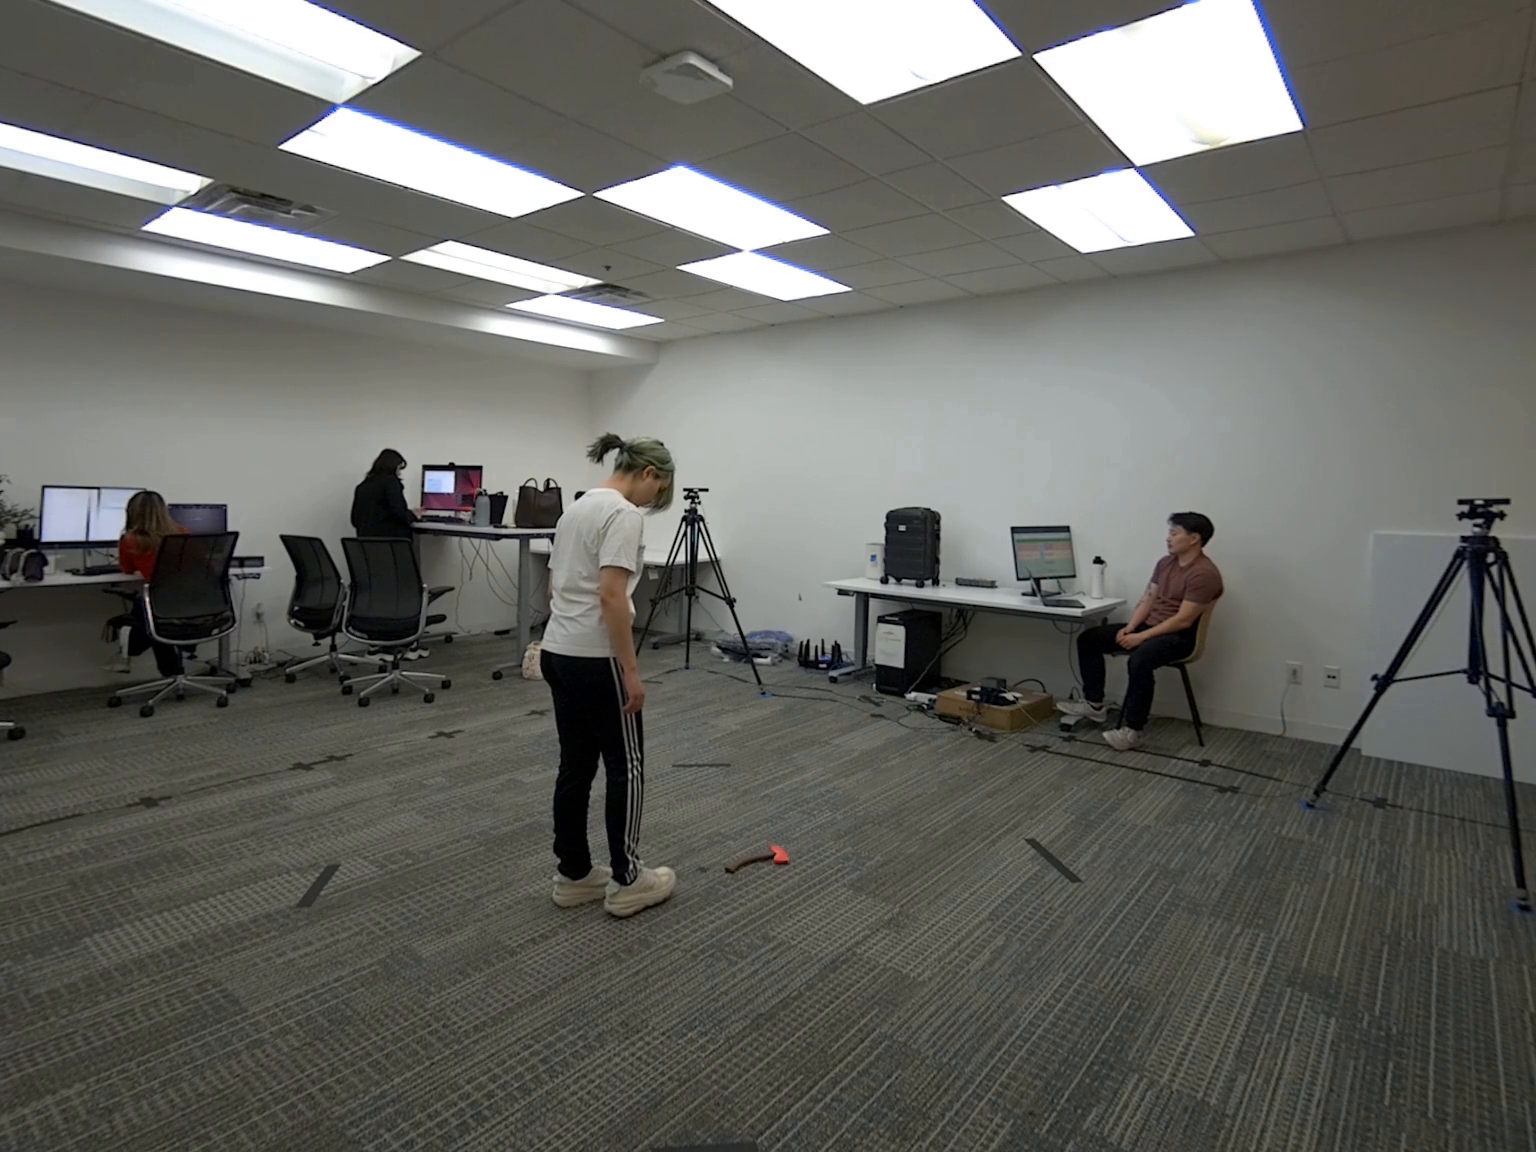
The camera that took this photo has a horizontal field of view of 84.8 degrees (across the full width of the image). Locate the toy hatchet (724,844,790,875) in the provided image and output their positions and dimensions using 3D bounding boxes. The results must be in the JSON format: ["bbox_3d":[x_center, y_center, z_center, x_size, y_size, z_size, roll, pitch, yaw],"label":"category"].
[{"bbox_3d":[-0.031,1.060,3.149,0.136,0.029,0.262,8,10,41],"label":"toy hatchet"}]
